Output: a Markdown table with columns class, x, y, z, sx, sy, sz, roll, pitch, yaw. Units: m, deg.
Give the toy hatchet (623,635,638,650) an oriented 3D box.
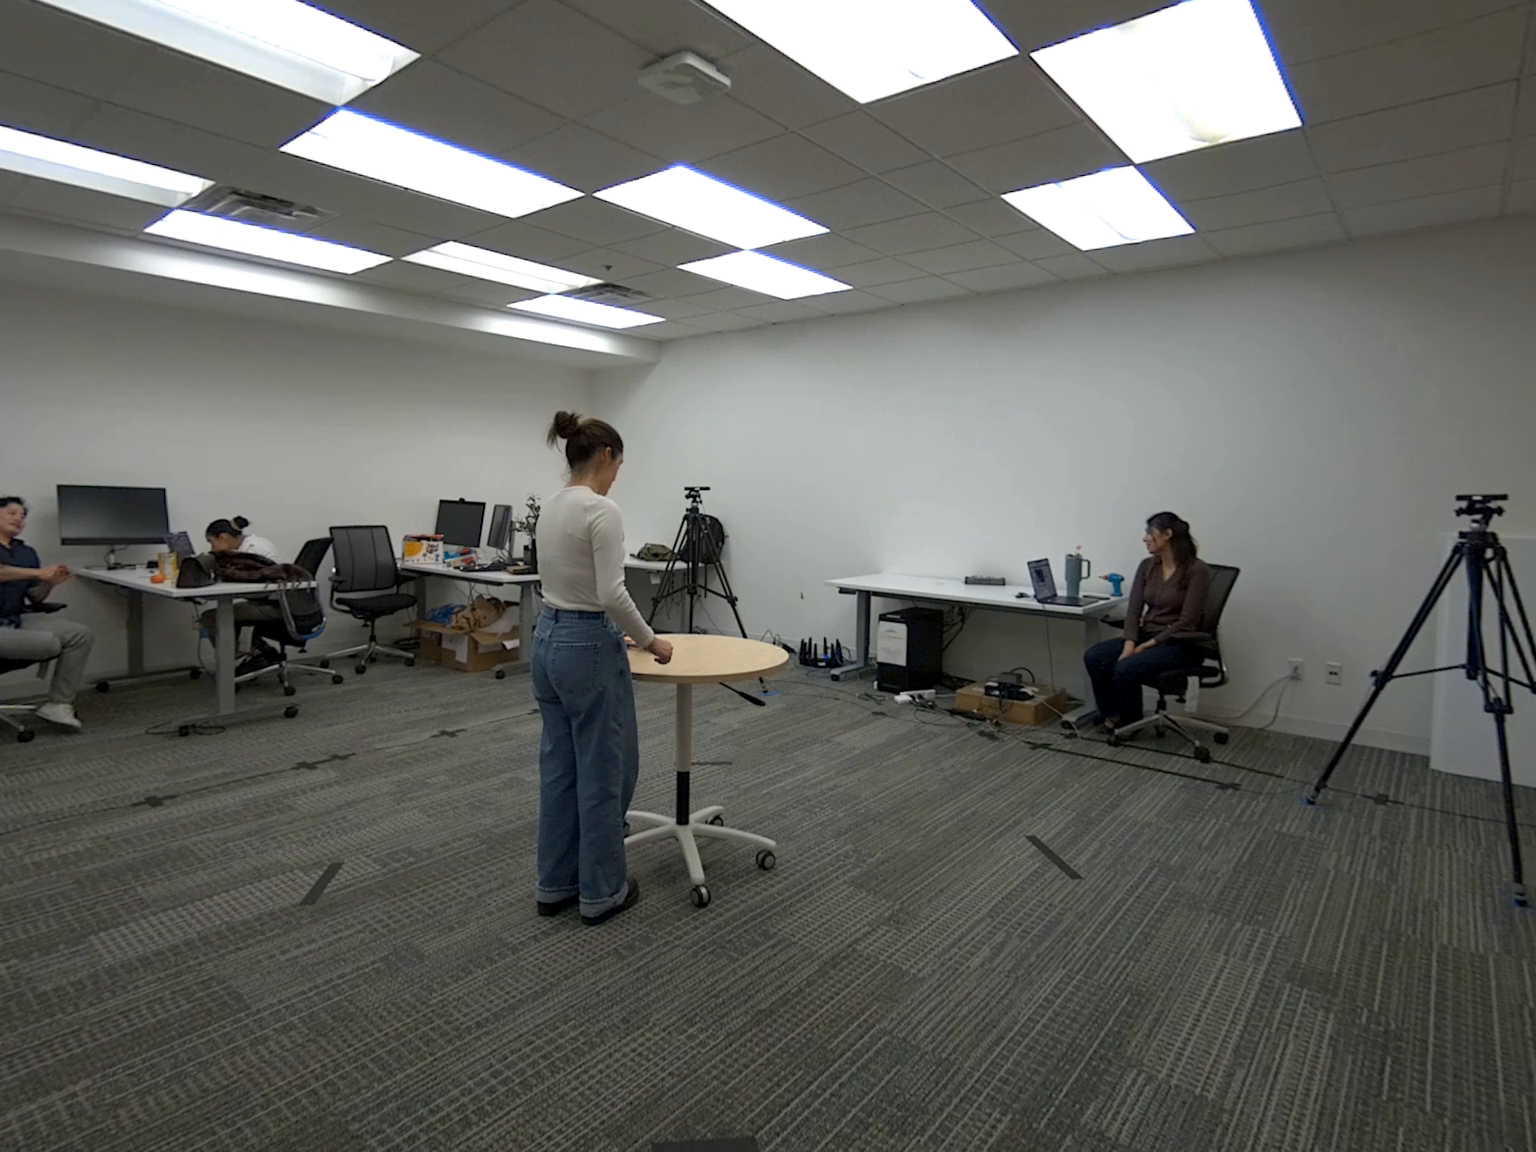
| class | x | y | z | sx | sy | sz | roll | pitch | yaw |
| --- | --- | --- | --- | --- | --- | --- | --- | --- | --- |
| toy hatchet | -0.481 | 0.260 | 3.127 | 0.127 | 0.029 | 0.279 | 4 | 3 | -37 |
